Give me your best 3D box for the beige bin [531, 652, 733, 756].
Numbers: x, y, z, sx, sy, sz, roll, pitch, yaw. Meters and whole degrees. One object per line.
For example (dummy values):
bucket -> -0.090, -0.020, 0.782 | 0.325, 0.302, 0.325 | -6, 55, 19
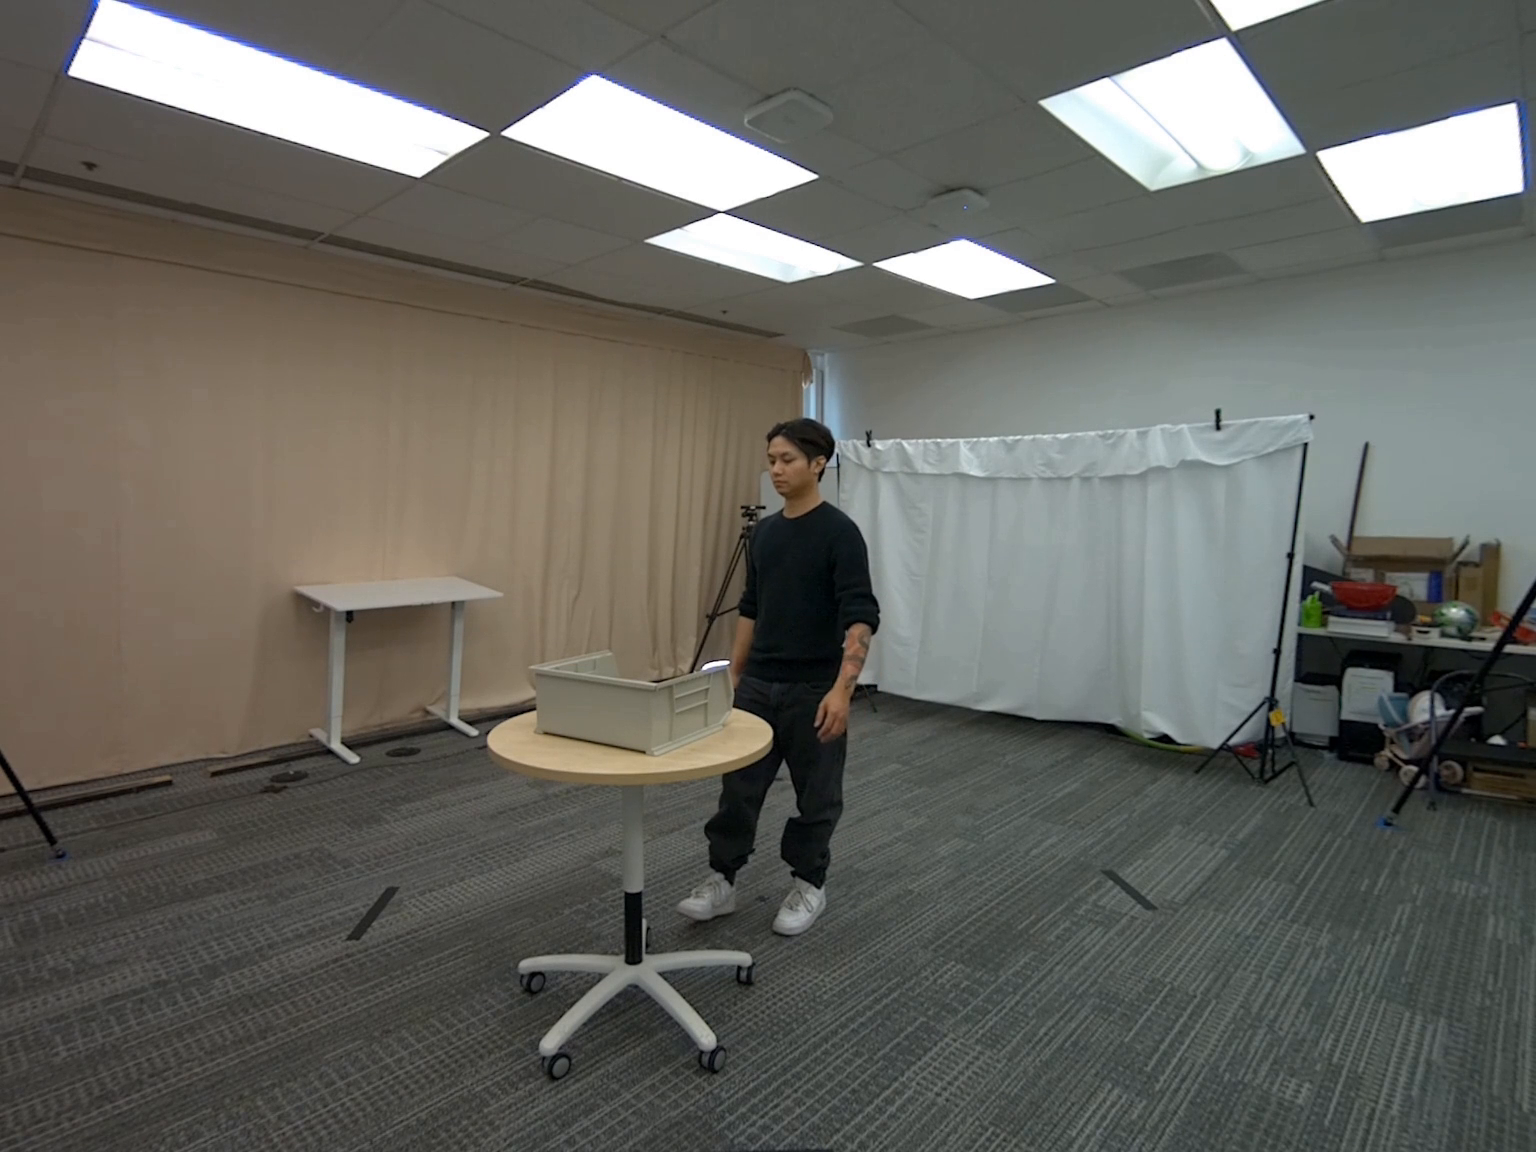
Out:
beige bin -> -0.367, 0.334, 2.291 | 0.435, 0.188, 0.367 | 3, 6, 30
